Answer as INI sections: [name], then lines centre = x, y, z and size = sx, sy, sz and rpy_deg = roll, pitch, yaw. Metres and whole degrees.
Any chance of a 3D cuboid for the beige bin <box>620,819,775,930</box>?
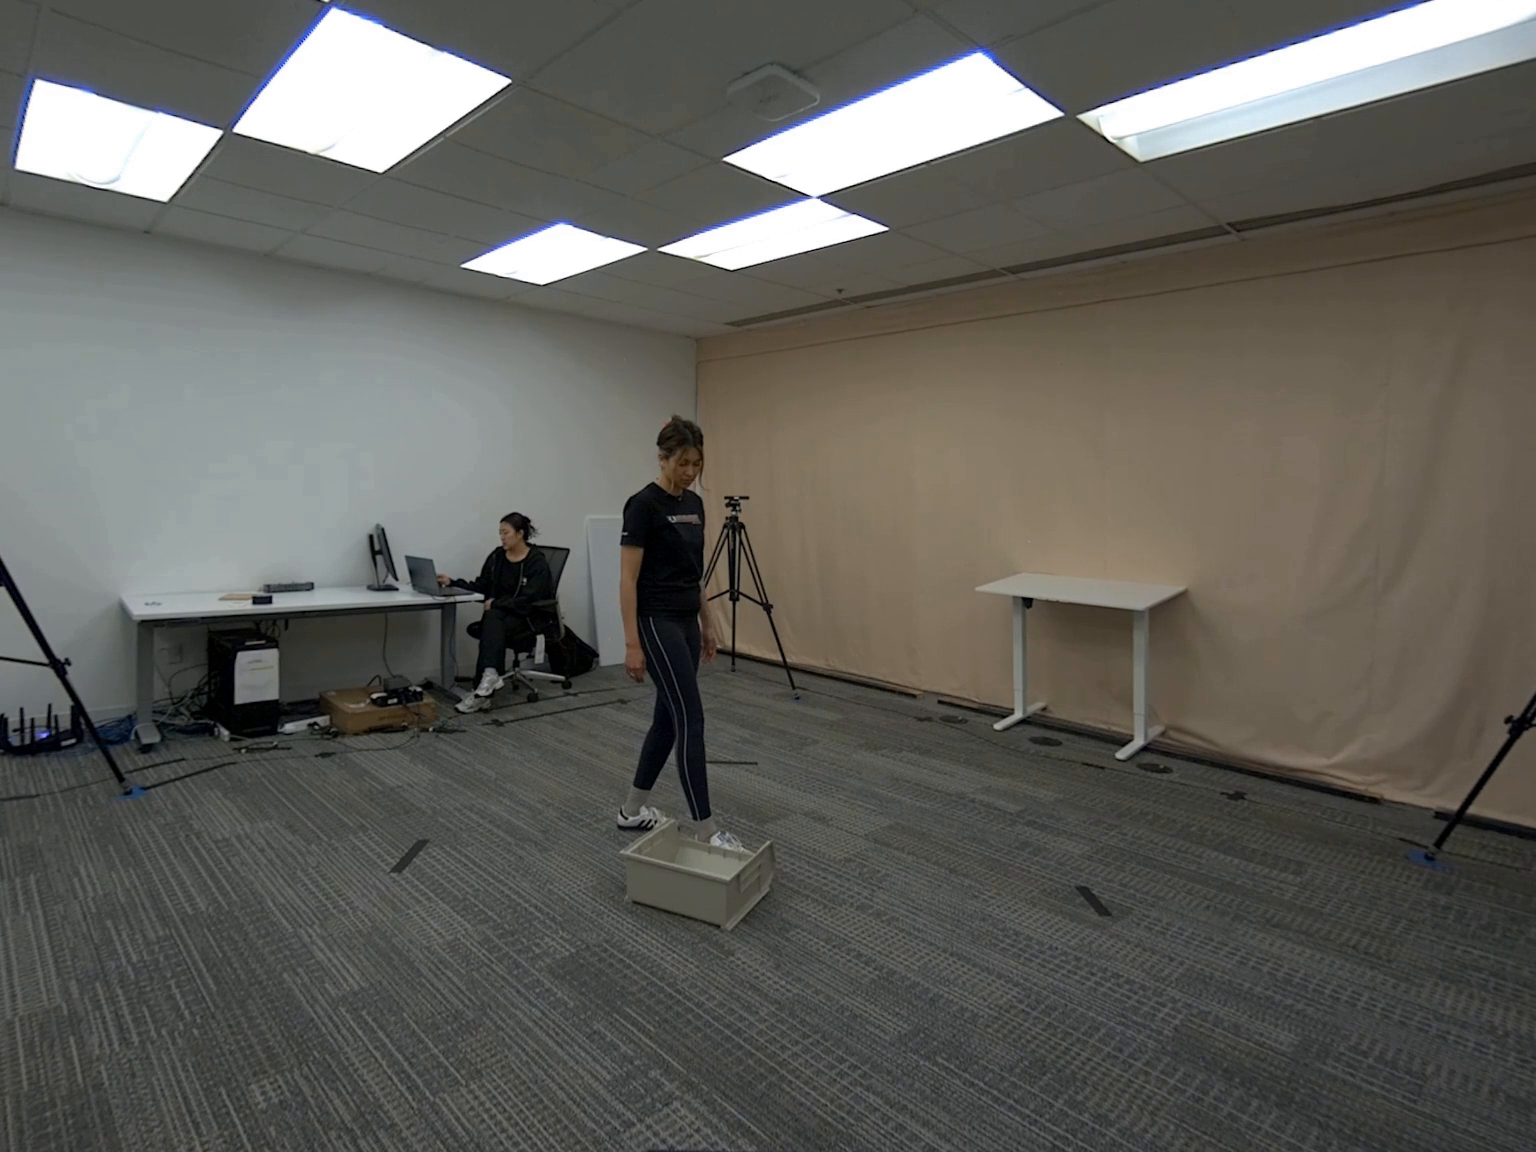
[beige bin]
centre = -0.240, 1.024, 2.944
size = 0.431, 0.188, 0.371
rpy_deg = 4, 8, 26
